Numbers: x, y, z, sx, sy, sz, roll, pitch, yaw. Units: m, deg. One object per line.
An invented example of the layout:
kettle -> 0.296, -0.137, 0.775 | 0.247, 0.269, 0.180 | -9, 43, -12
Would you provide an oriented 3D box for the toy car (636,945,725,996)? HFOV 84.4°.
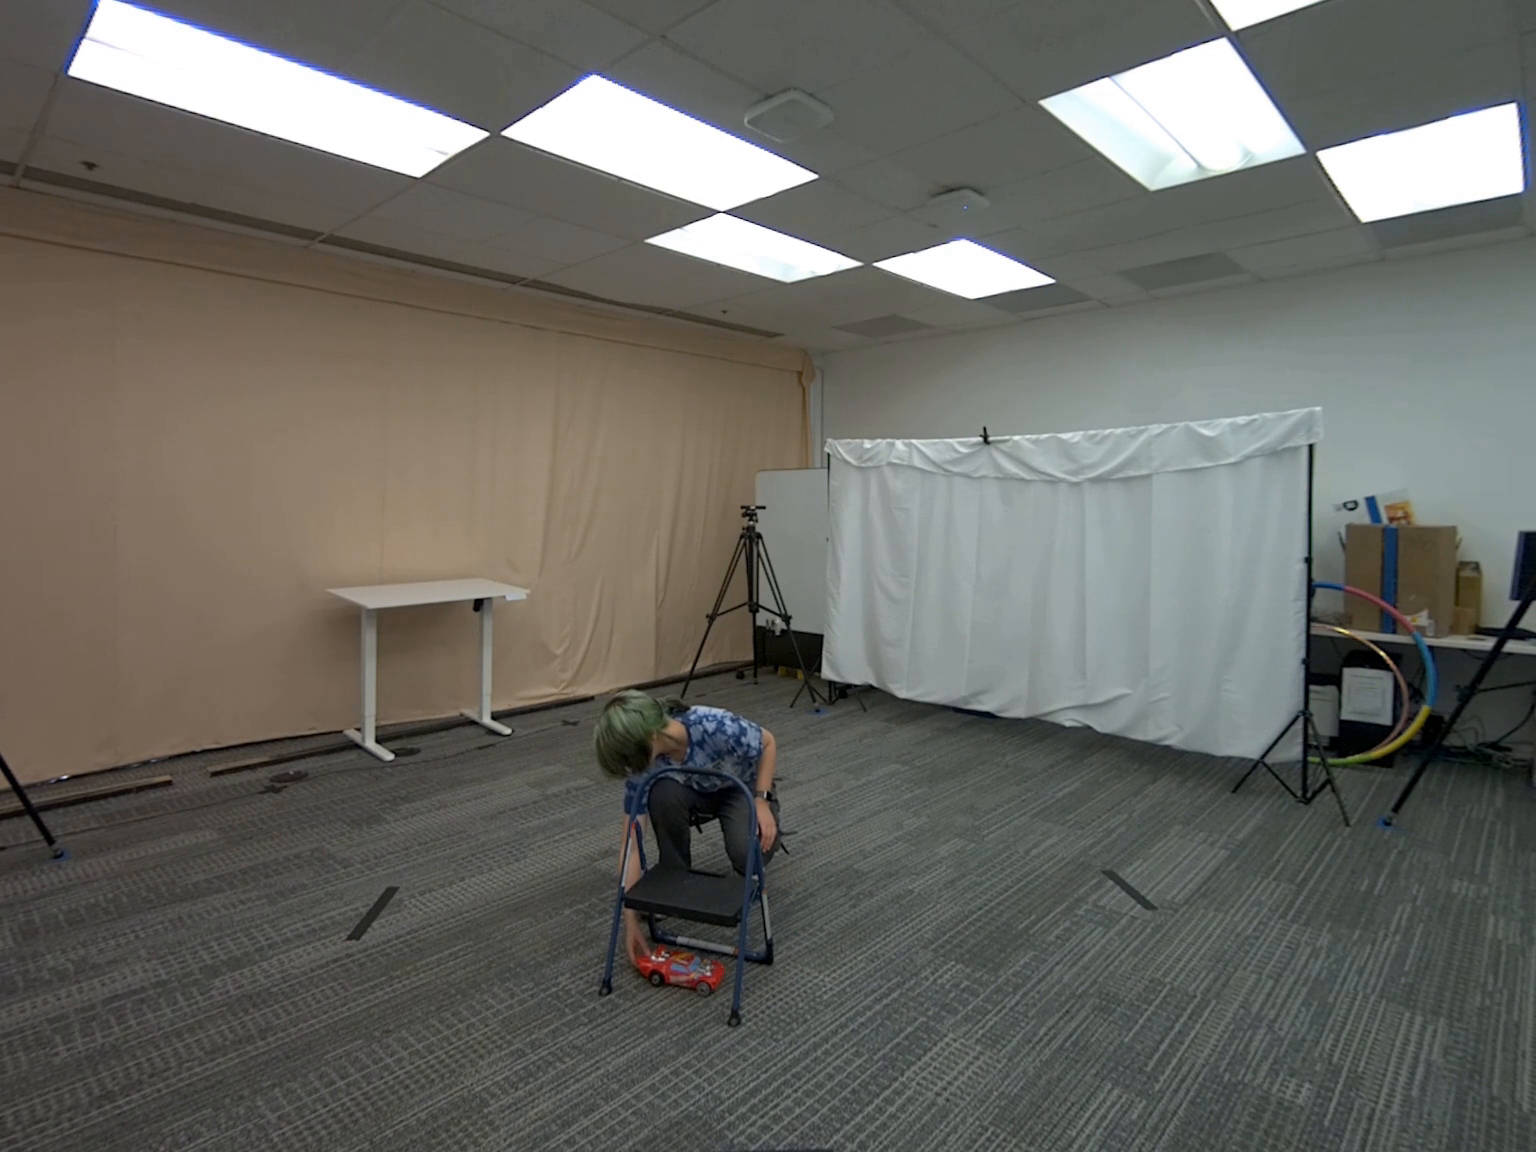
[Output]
toy car -> -0.273, 1.151, 2.477 | 0.260, 0.083, 0.128 | 13, 10, 17
